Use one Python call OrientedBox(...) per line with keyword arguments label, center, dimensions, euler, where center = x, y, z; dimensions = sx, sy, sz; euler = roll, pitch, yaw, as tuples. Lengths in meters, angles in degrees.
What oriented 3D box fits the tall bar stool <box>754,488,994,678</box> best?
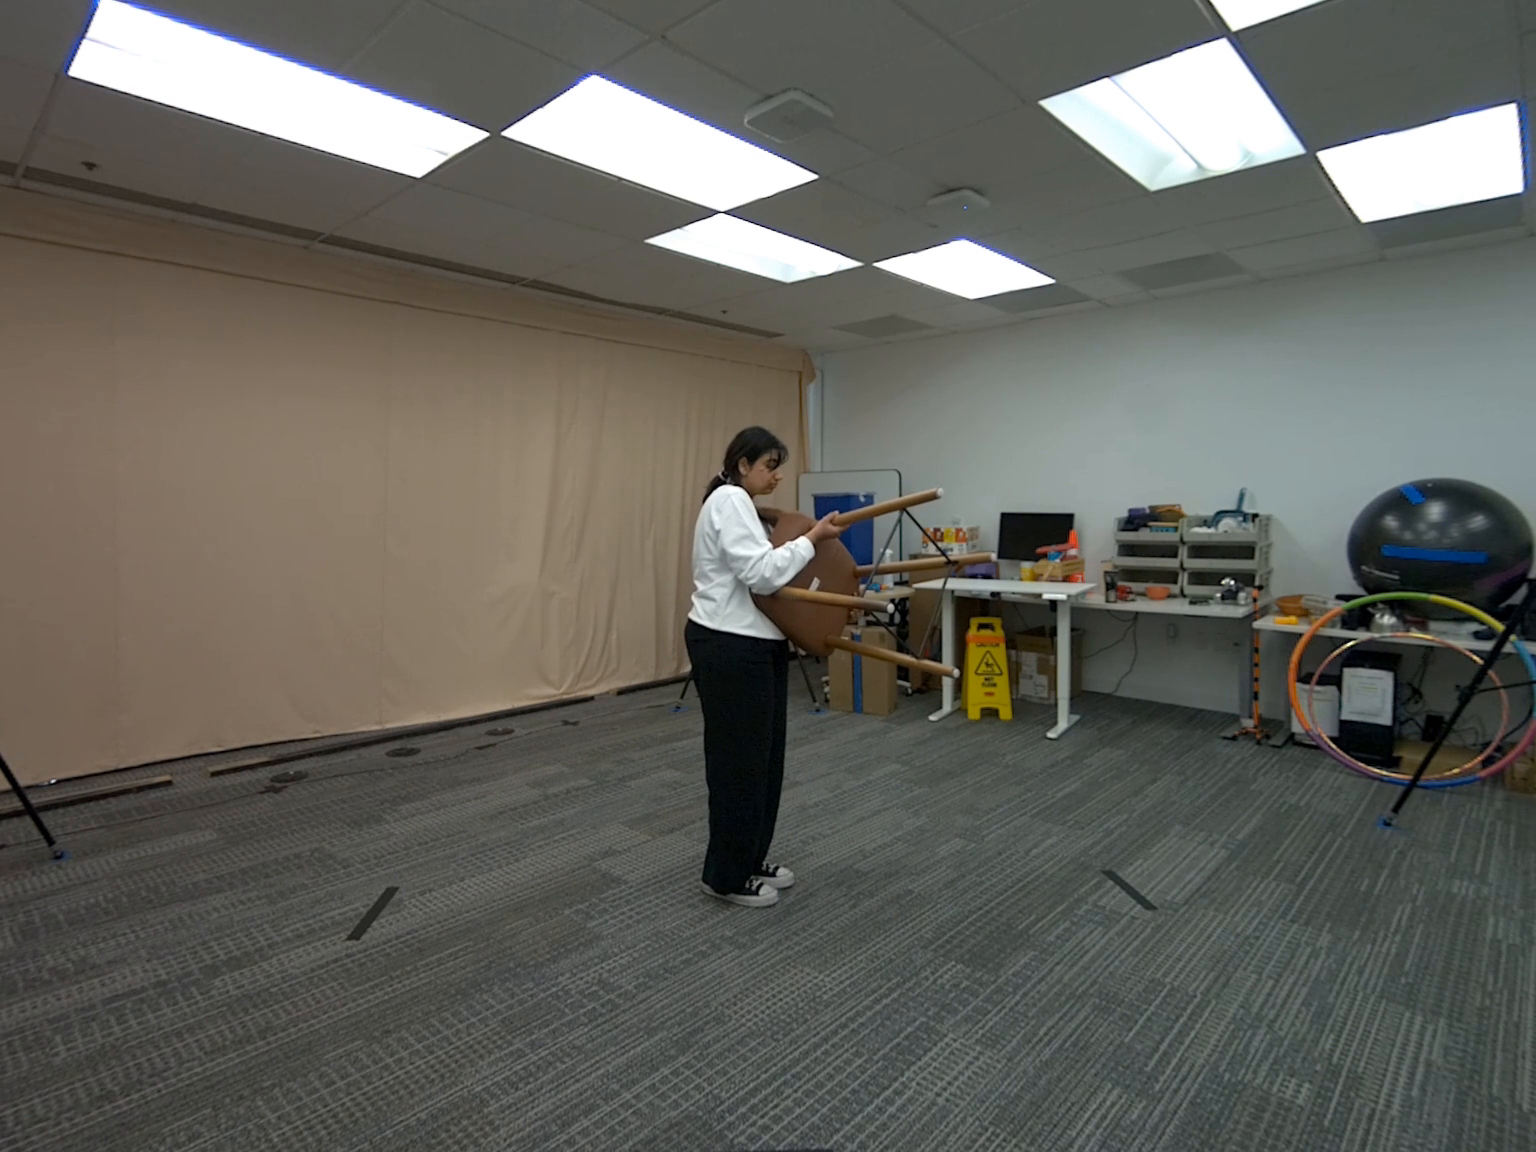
OrientedBox(label="tall bar stool", center=(0.266, 0.017, 2.907), dimensions=(0.918, 0.468, 0.442), euler=(1, -34, 49))
